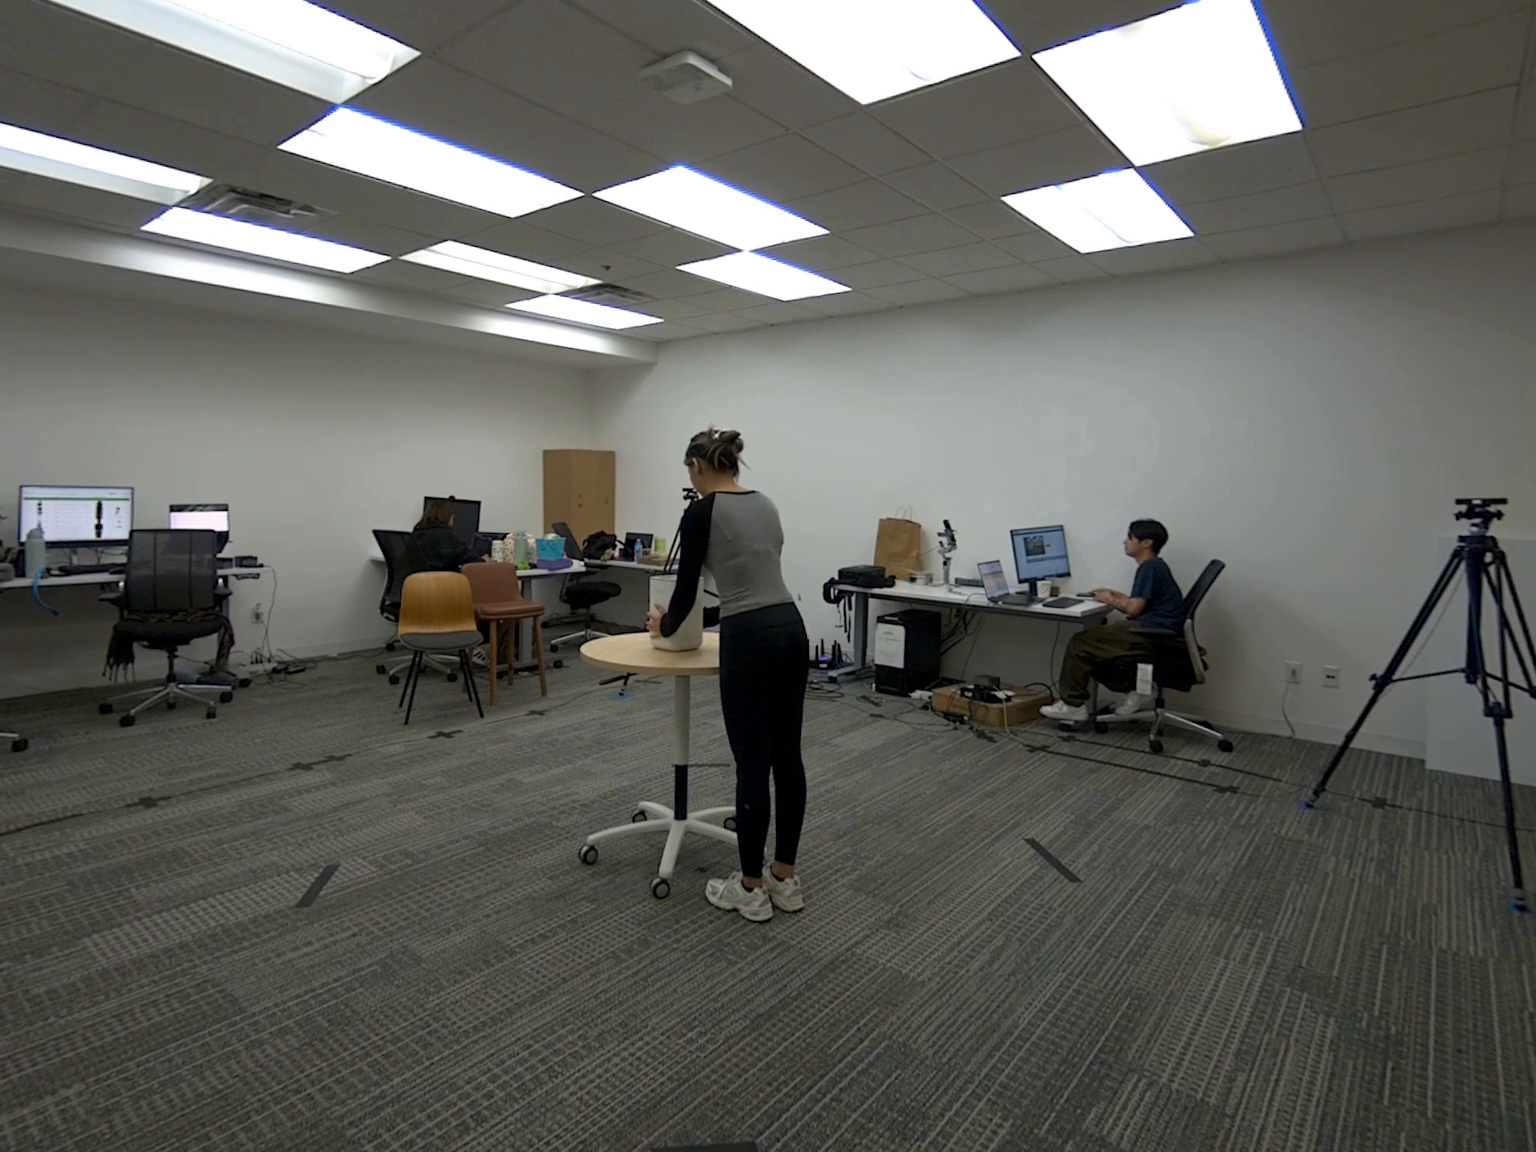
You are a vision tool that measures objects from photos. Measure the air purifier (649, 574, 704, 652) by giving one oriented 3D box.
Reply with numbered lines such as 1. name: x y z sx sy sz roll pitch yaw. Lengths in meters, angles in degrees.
1. air purifier: -0.349 0.135 3.187 0.177 0.265 0.166 4 3 42
